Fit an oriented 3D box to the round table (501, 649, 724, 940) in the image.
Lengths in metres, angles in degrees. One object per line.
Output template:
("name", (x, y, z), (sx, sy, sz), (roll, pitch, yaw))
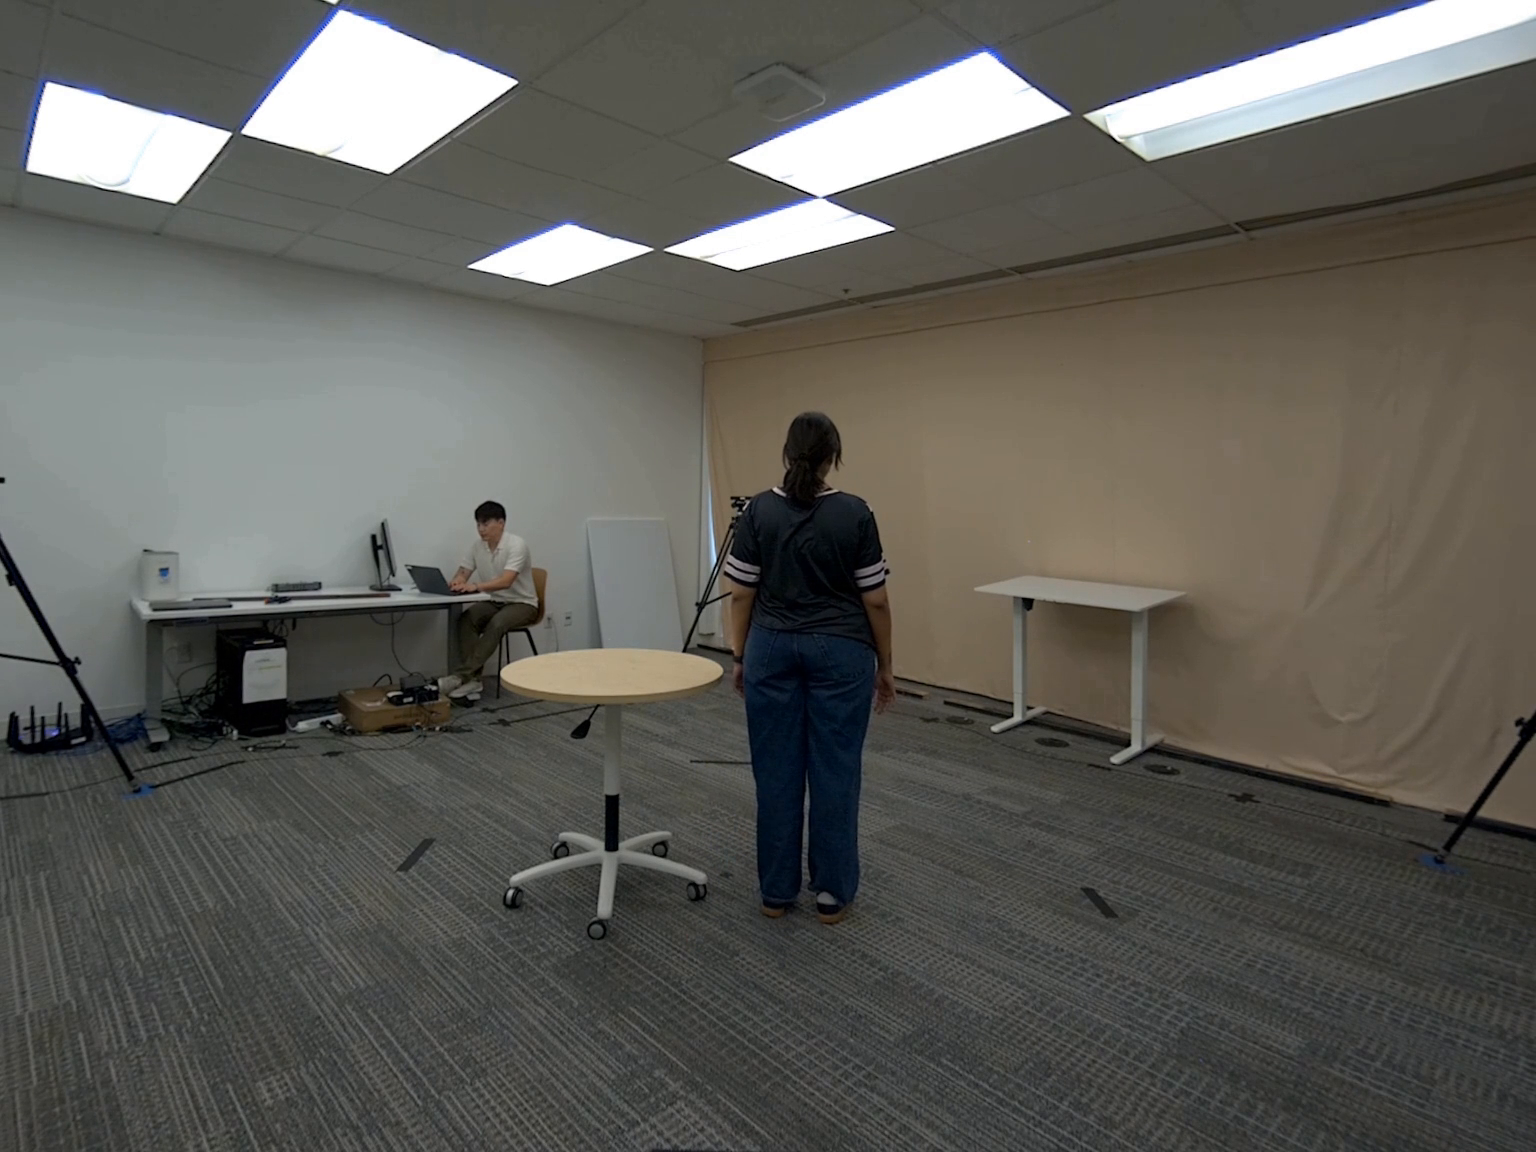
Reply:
("round table", (-0.555, 0.715, 2.944), (0.784, 0.784, 0.788), (1, 4, -1))
